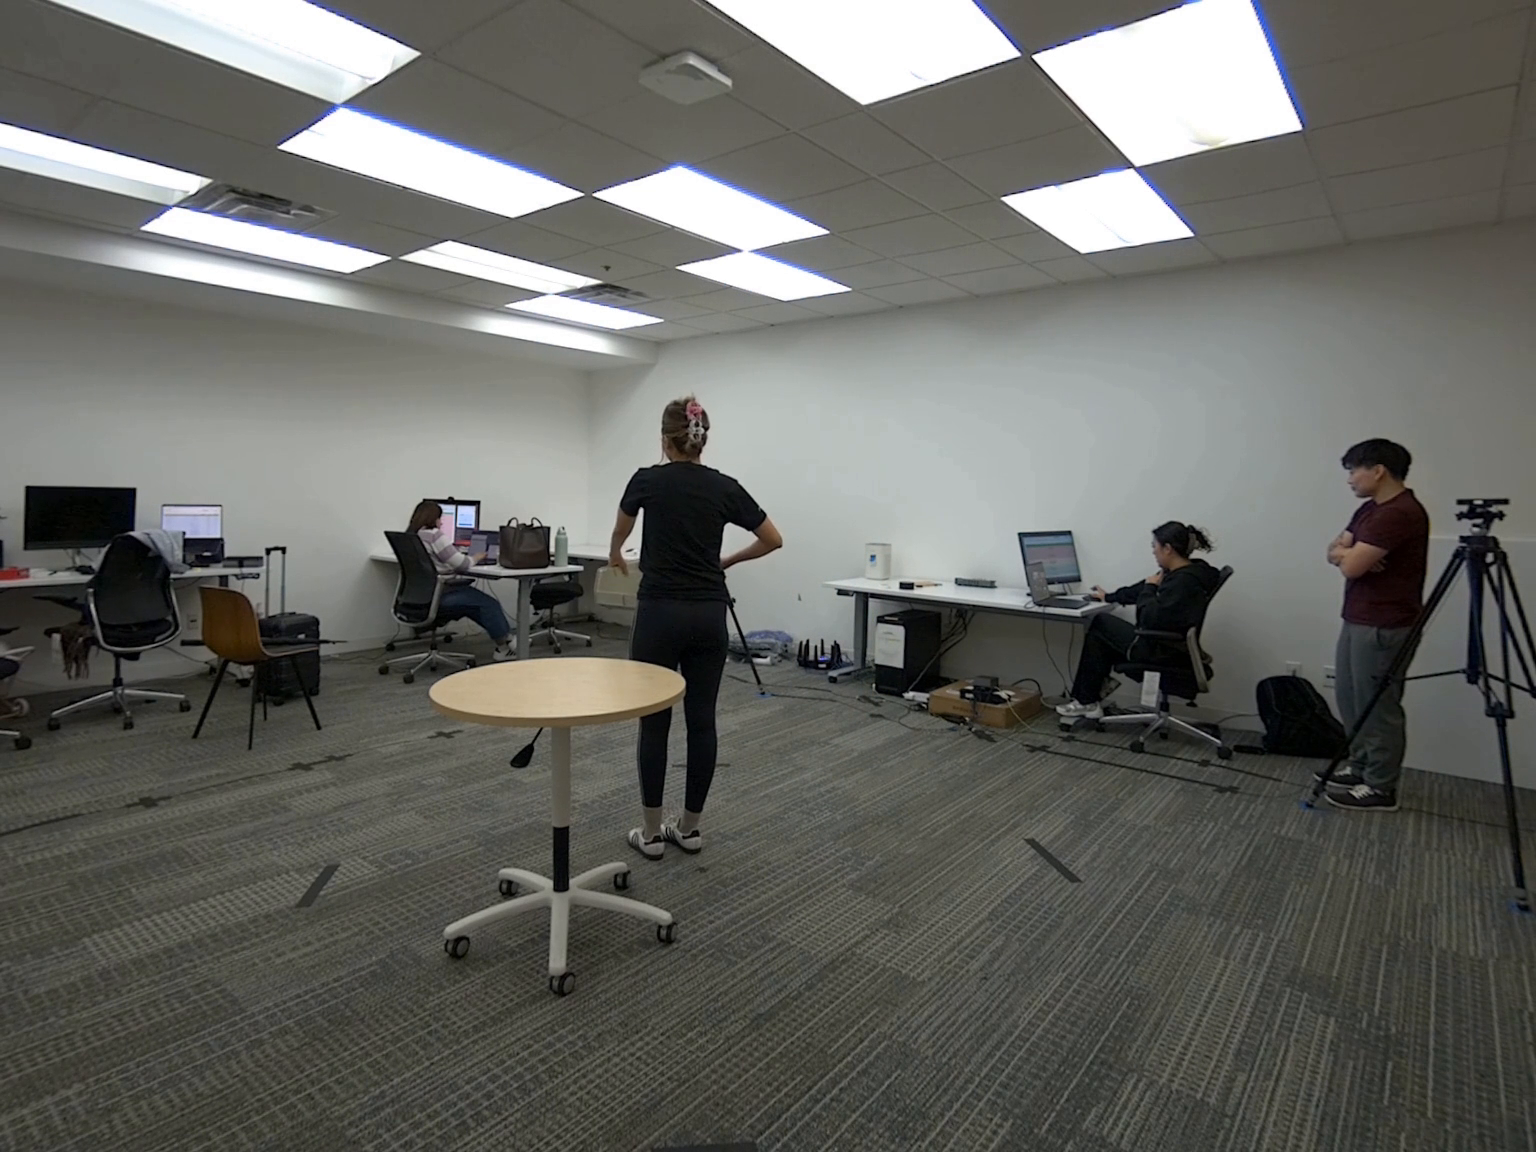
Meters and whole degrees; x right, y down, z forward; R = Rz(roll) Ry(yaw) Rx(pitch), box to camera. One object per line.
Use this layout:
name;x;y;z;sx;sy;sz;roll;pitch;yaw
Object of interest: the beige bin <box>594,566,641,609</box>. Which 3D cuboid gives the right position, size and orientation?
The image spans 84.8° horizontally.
beige bin;-0.475;0.039;3.632;0.435;0.187;0.369;4;10;32
